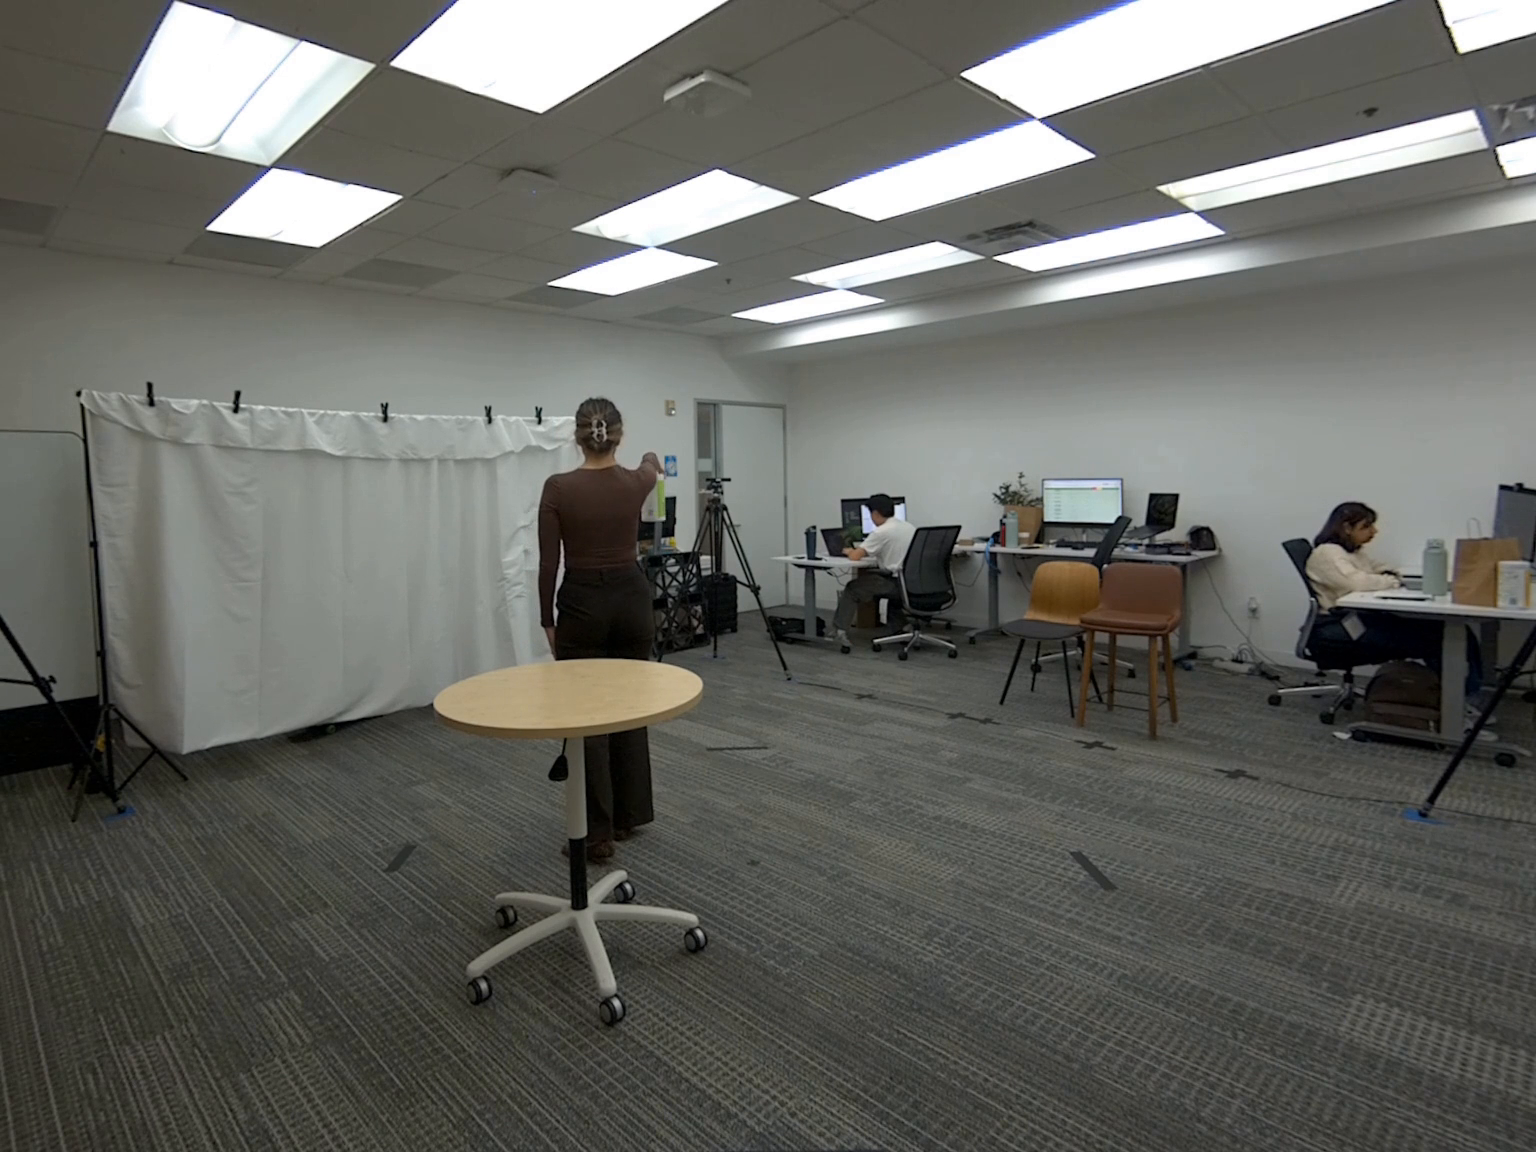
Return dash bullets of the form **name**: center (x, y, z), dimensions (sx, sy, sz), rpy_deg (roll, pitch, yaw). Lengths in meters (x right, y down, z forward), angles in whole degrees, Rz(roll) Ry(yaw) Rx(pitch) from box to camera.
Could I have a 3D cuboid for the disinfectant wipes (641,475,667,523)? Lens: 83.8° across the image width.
- **disinfectant wipes**: center (-0.527, -0.355, 3.904), dimensions (0.118, 0.216, 0.118), rpy_deg (2, 5, -2)
